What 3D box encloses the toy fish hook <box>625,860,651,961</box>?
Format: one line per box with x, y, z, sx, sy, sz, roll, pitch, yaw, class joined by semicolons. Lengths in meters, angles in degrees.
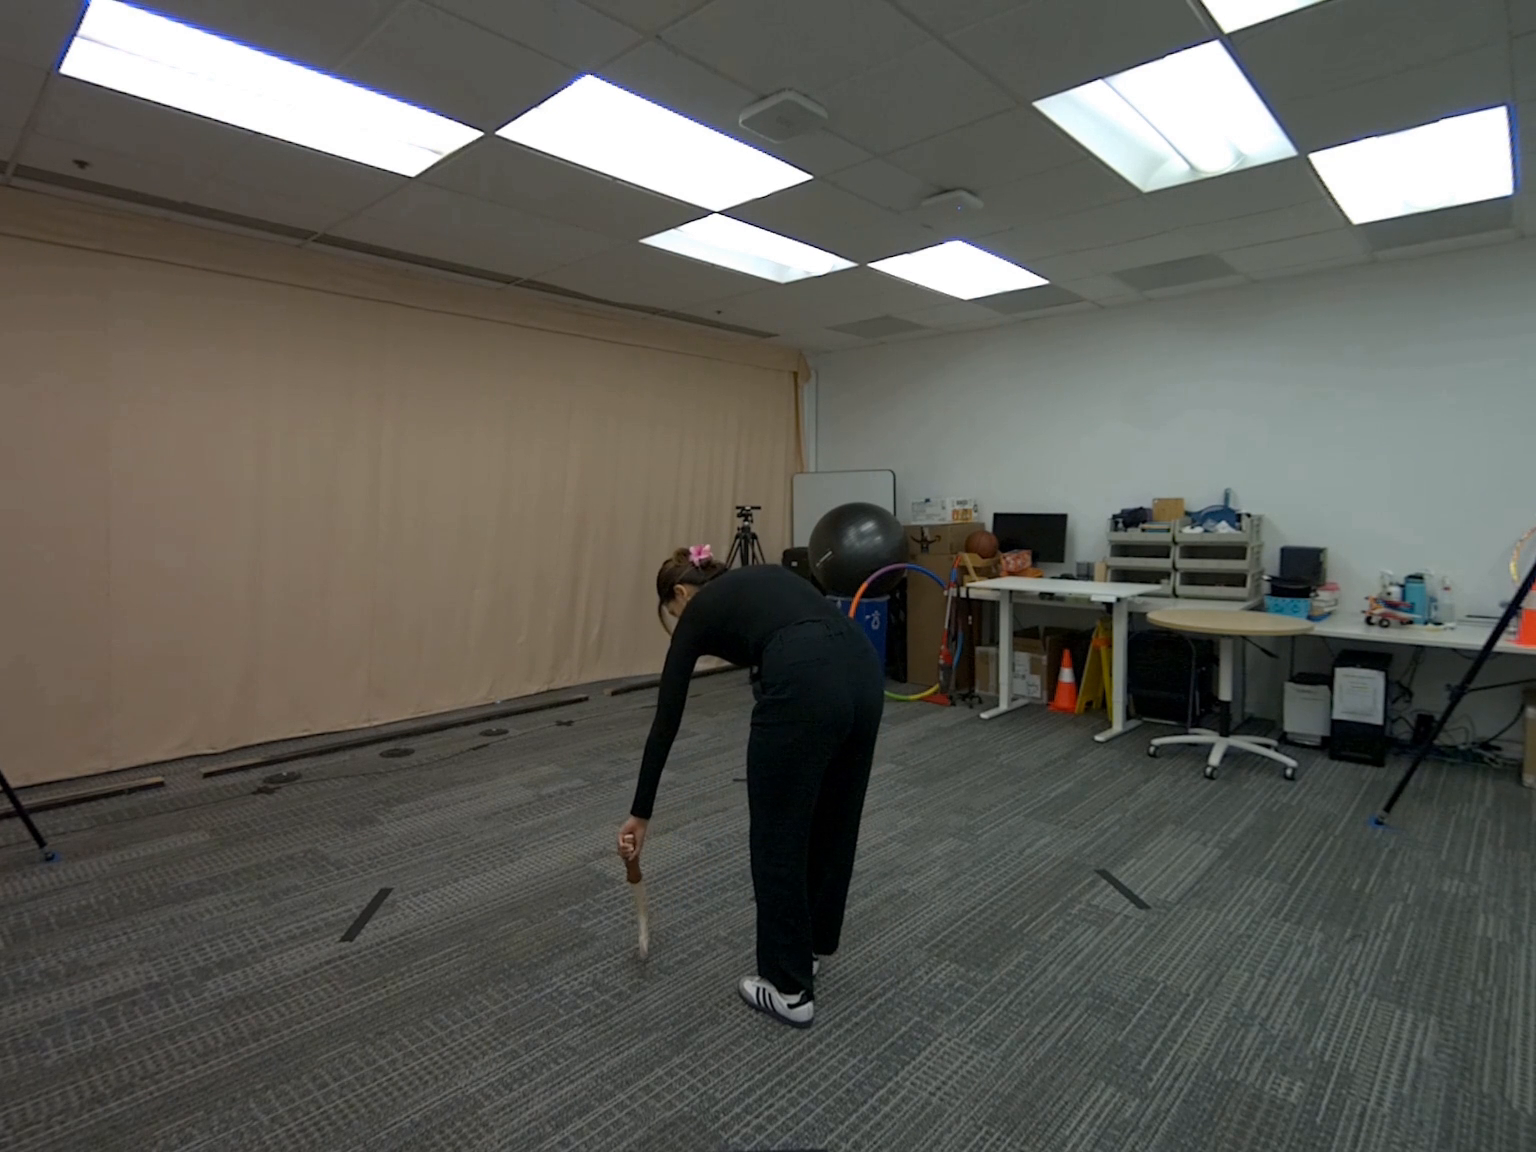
-0.382;0.961;2.485;0.048;0.497;0.230;-7;38;-7;toy fish hook
